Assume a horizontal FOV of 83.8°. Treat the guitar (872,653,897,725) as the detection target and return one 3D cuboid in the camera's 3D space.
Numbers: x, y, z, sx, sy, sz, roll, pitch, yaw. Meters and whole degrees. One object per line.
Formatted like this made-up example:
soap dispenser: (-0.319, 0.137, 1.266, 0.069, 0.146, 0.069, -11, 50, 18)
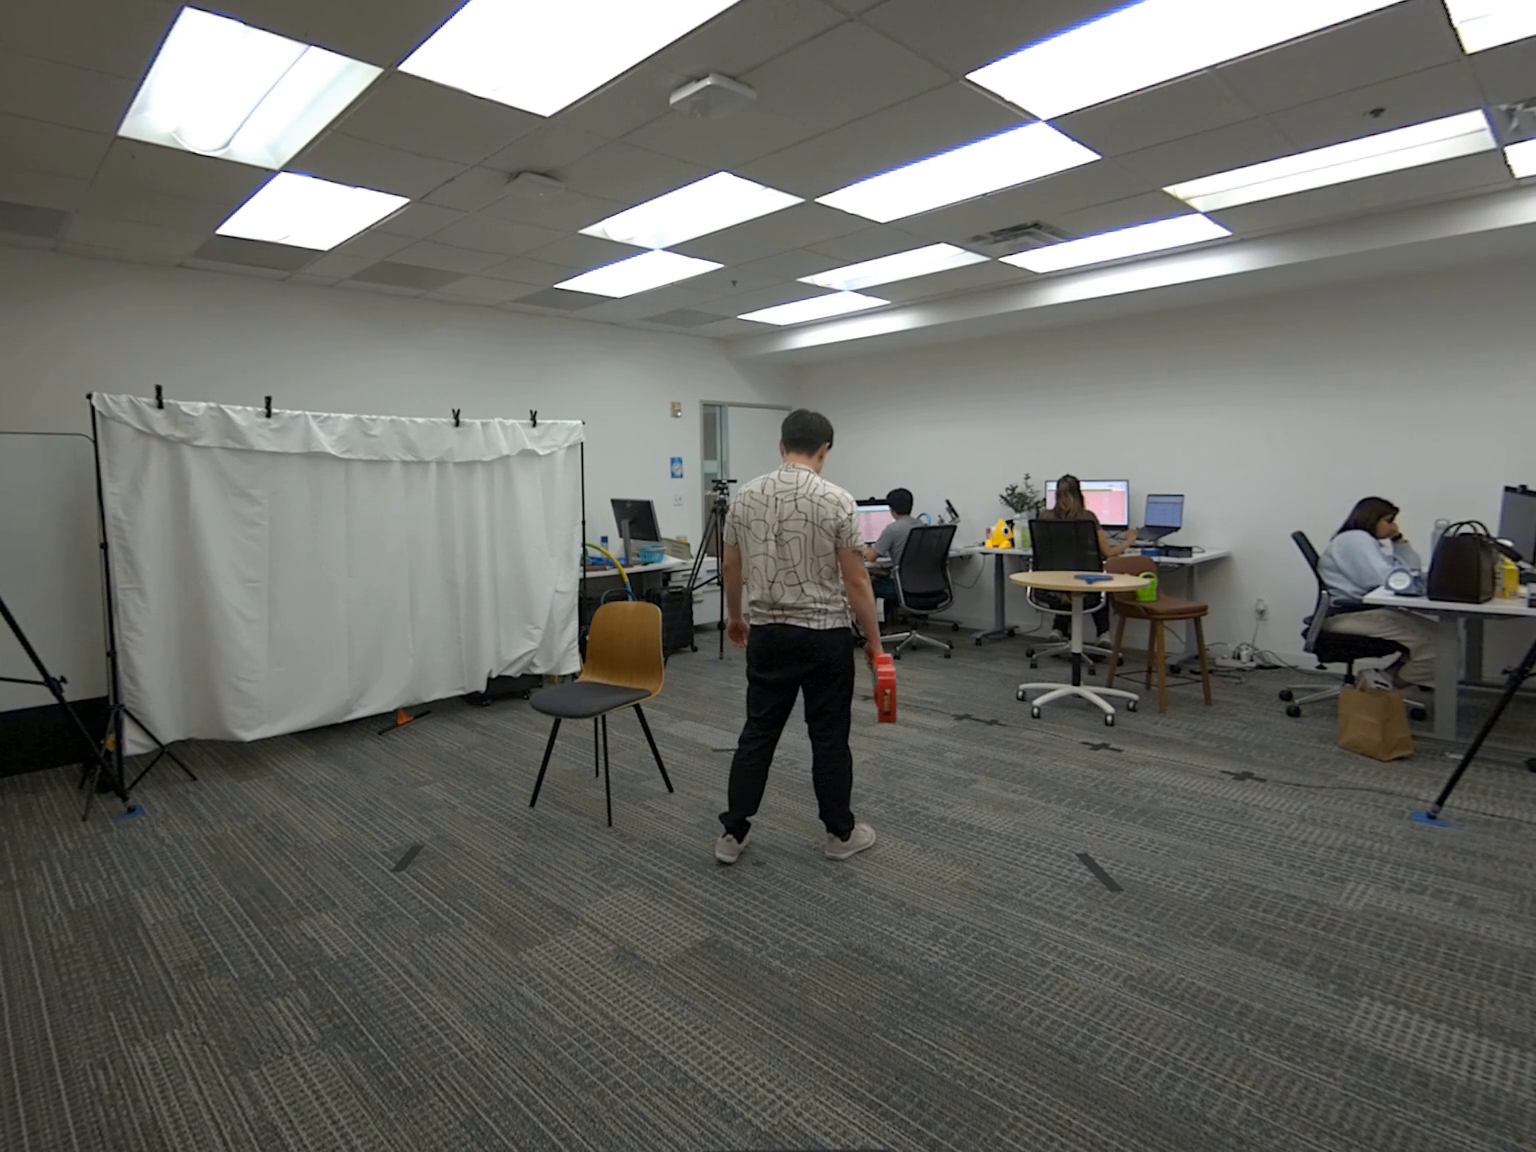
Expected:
guitar: (0.393, 0.311, 3.033, 0.071, 0.188, 0.506, -5, 28, 6)
